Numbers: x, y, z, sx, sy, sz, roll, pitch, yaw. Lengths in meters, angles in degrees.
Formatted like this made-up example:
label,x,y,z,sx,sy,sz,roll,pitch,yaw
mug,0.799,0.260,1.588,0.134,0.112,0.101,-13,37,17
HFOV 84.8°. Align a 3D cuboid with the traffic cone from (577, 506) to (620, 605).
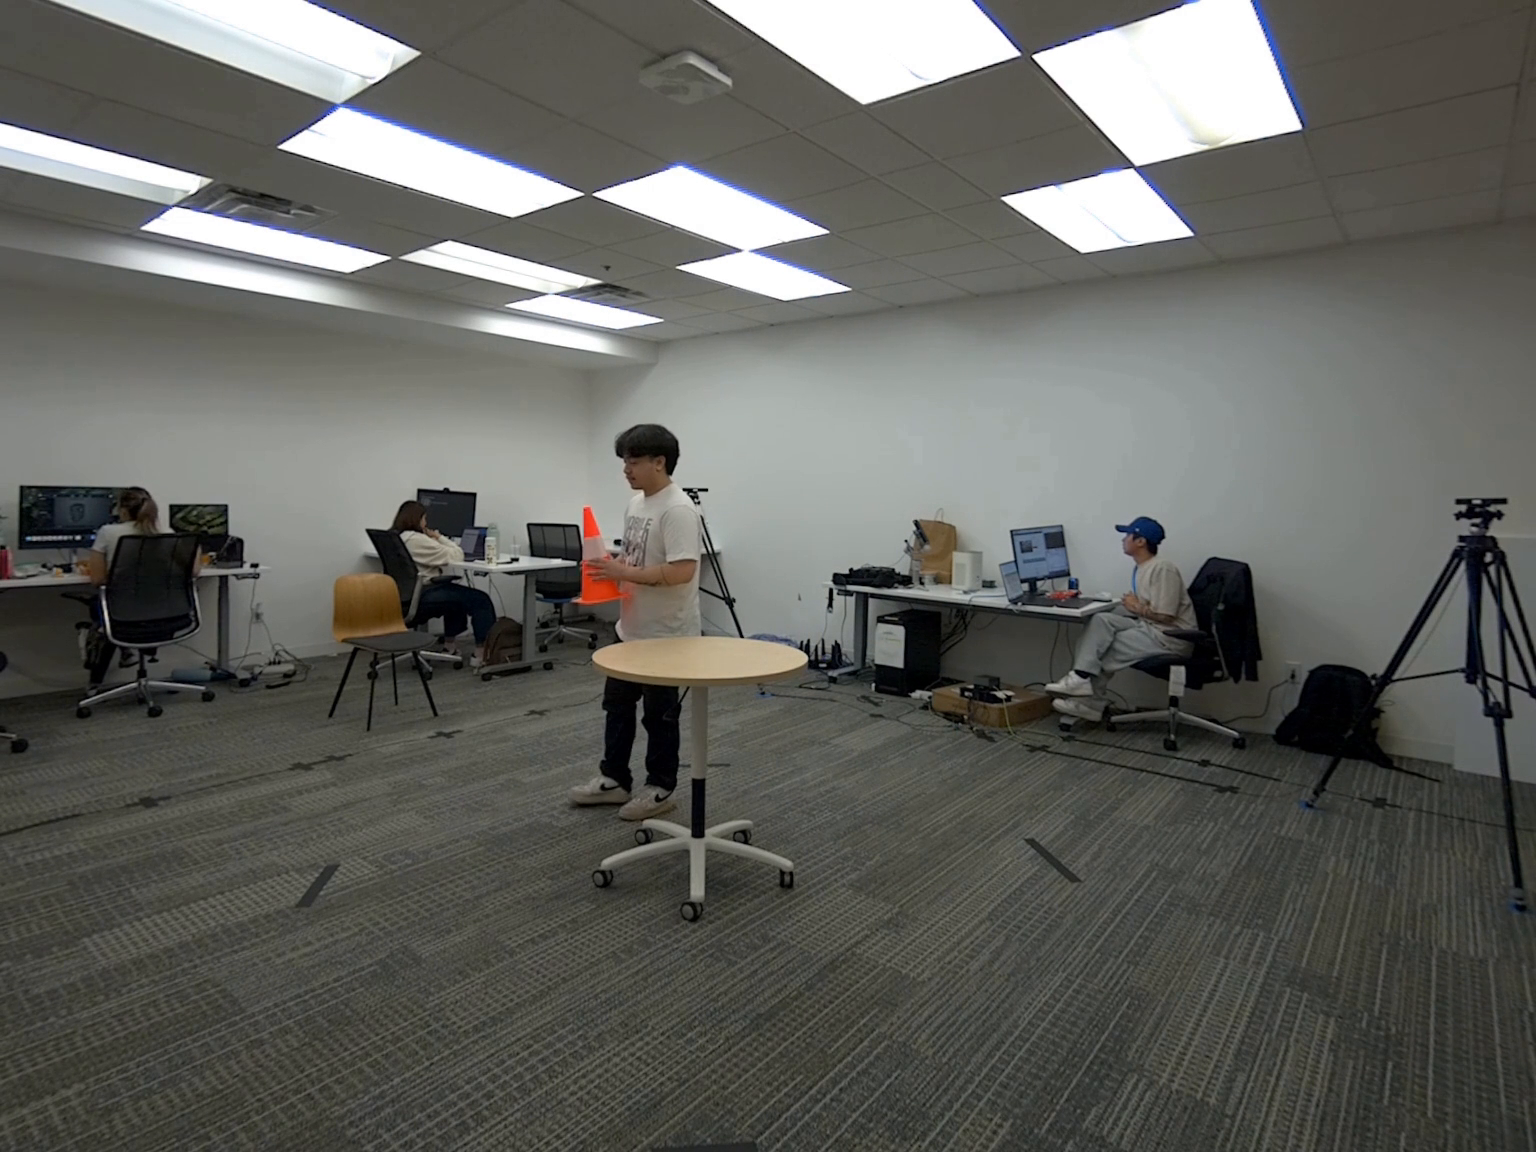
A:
label,x,y,z,sx,sy,sz,roll,pitch,yaw
traffic cone,-0.738,-0.100,3.503,0.200,0.380,0.210,-16,11,-43
